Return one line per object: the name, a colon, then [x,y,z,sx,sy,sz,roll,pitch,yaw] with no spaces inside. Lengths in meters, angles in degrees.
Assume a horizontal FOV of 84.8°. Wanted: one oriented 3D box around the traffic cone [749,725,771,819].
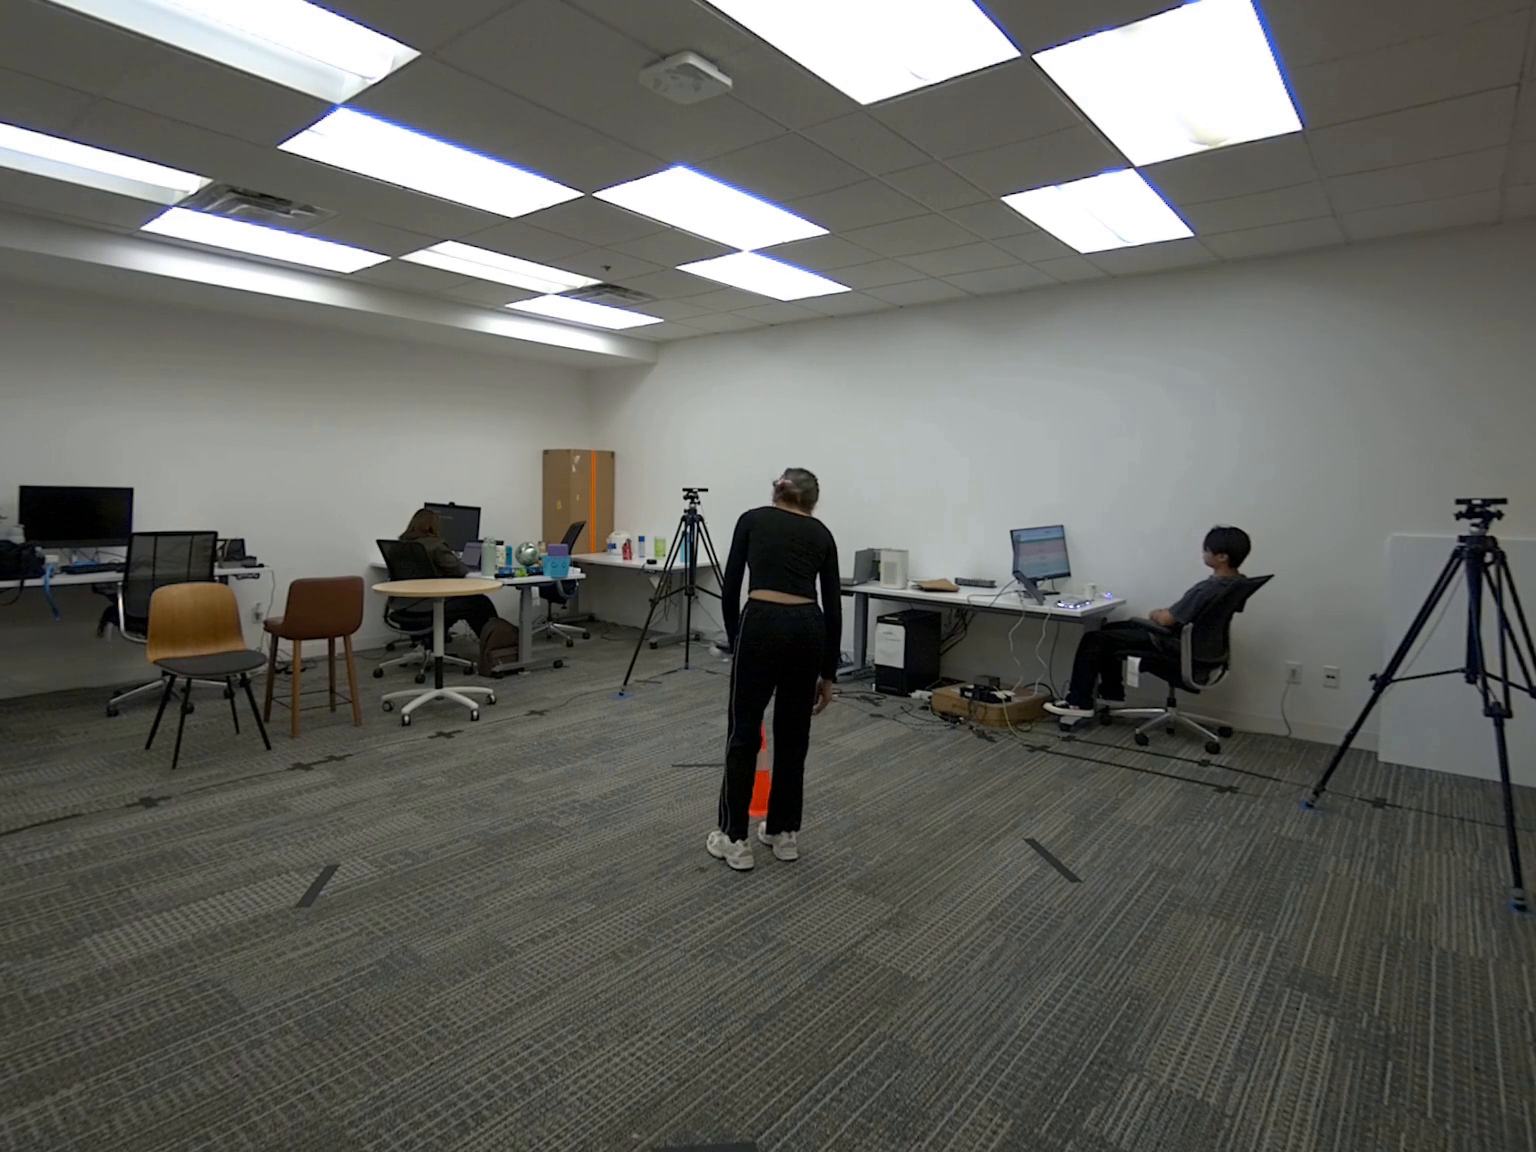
traffic cone: [-0.046,0.822,3.760,0.212,0.383,0.197,5,4,43]
